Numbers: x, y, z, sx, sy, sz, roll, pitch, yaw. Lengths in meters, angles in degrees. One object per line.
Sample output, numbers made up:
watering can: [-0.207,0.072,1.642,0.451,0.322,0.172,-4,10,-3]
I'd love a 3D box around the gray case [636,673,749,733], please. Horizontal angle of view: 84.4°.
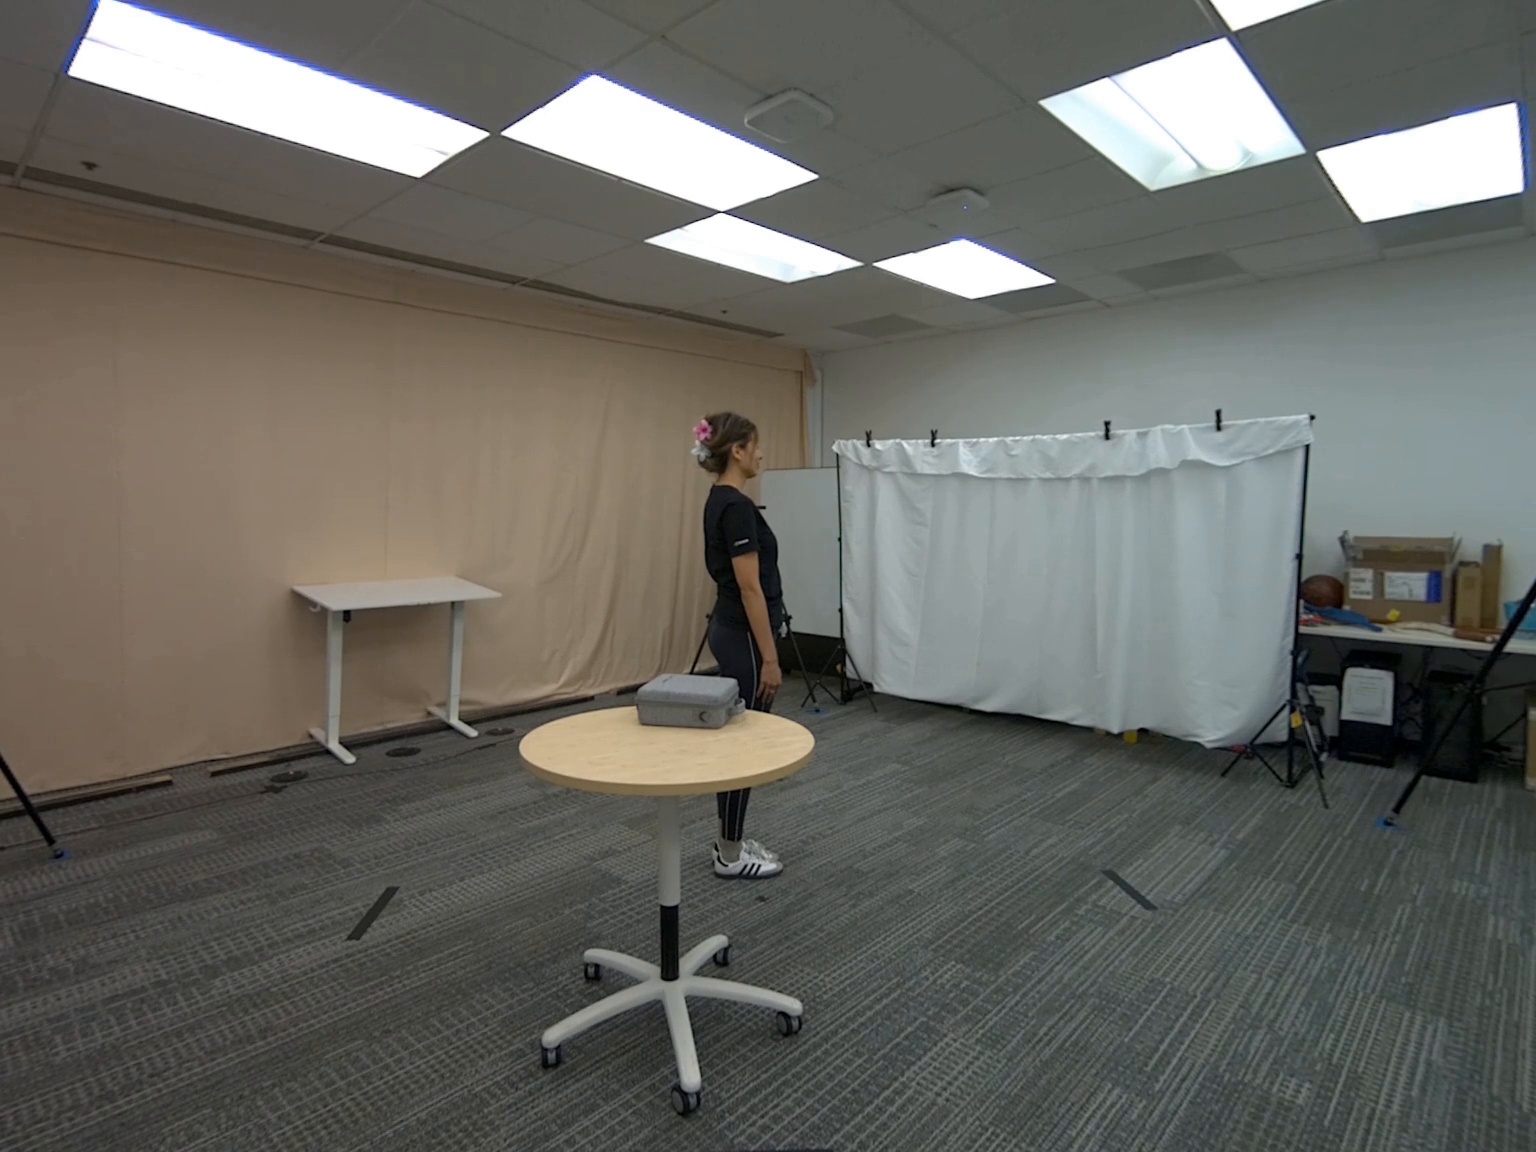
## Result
gray case: [-0.212,0.358,2.437,0.265,0.104,0.253,1,2,13]
